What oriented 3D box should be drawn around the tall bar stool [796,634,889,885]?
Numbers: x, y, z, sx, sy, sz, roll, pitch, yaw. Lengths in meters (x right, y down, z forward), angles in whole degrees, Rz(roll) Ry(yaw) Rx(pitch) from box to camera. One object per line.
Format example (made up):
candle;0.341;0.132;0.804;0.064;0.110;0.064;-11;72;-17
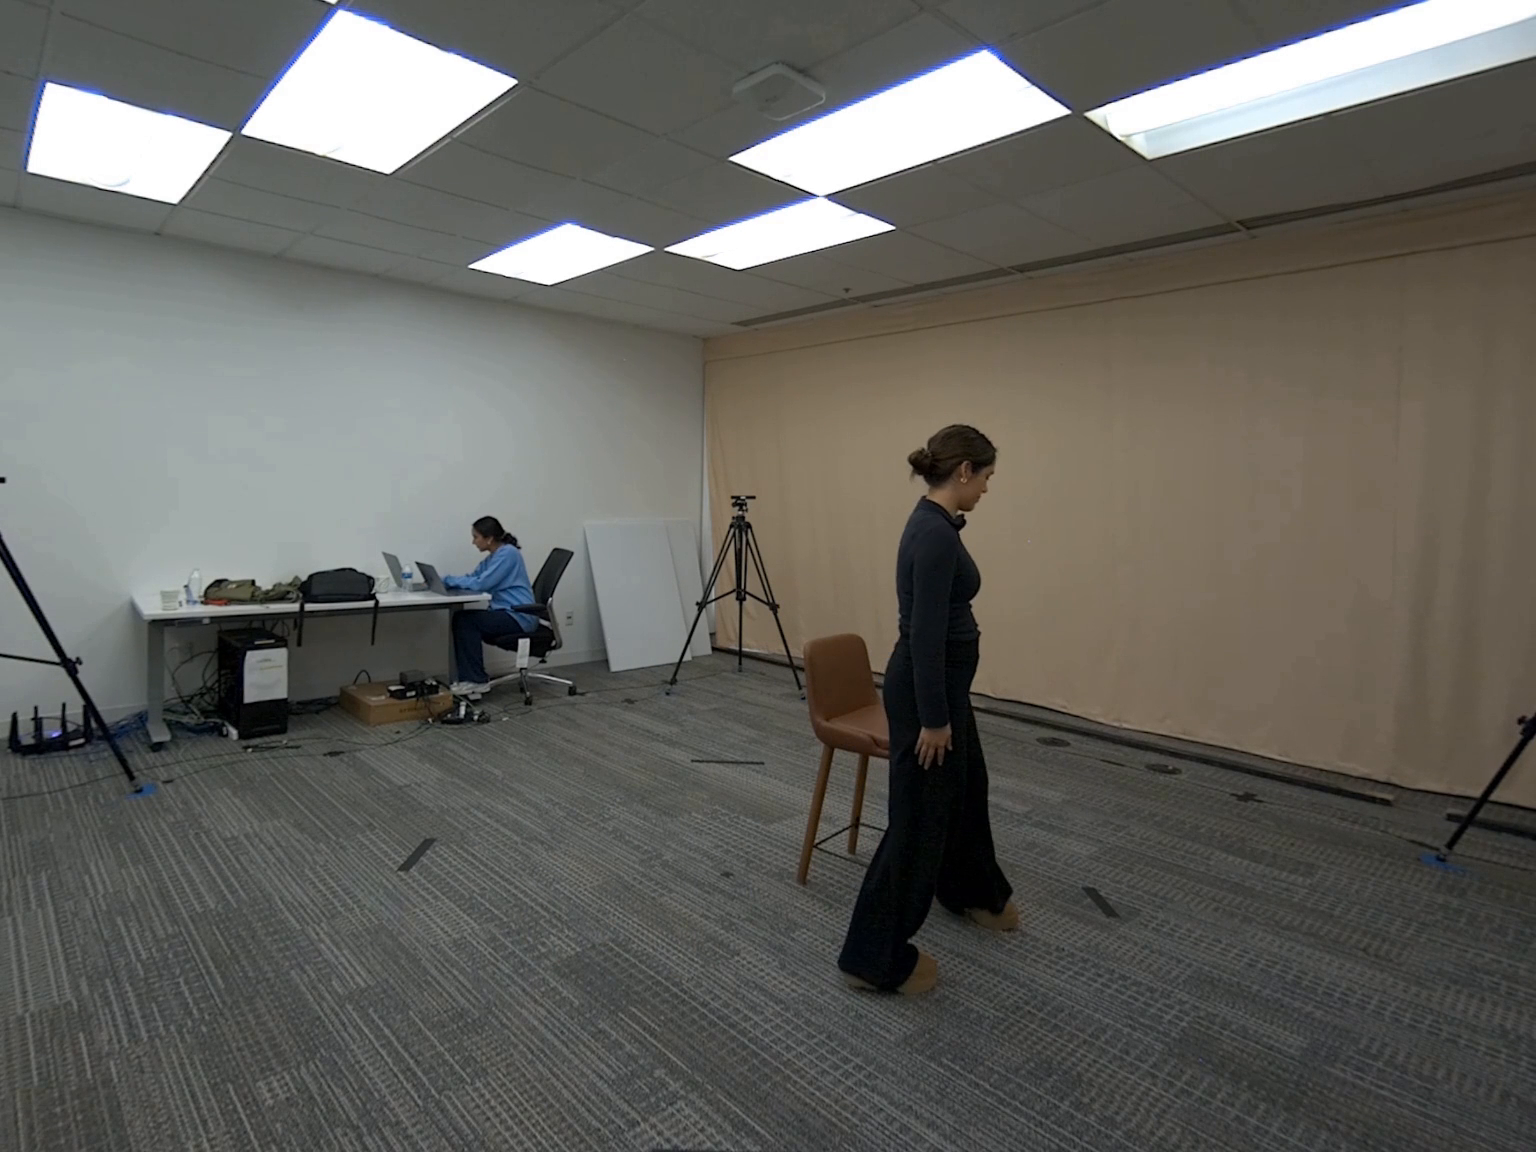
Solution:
tall bar stool;0.398;0.687;3.031;0.479;0.888;0.446;3;3;39
